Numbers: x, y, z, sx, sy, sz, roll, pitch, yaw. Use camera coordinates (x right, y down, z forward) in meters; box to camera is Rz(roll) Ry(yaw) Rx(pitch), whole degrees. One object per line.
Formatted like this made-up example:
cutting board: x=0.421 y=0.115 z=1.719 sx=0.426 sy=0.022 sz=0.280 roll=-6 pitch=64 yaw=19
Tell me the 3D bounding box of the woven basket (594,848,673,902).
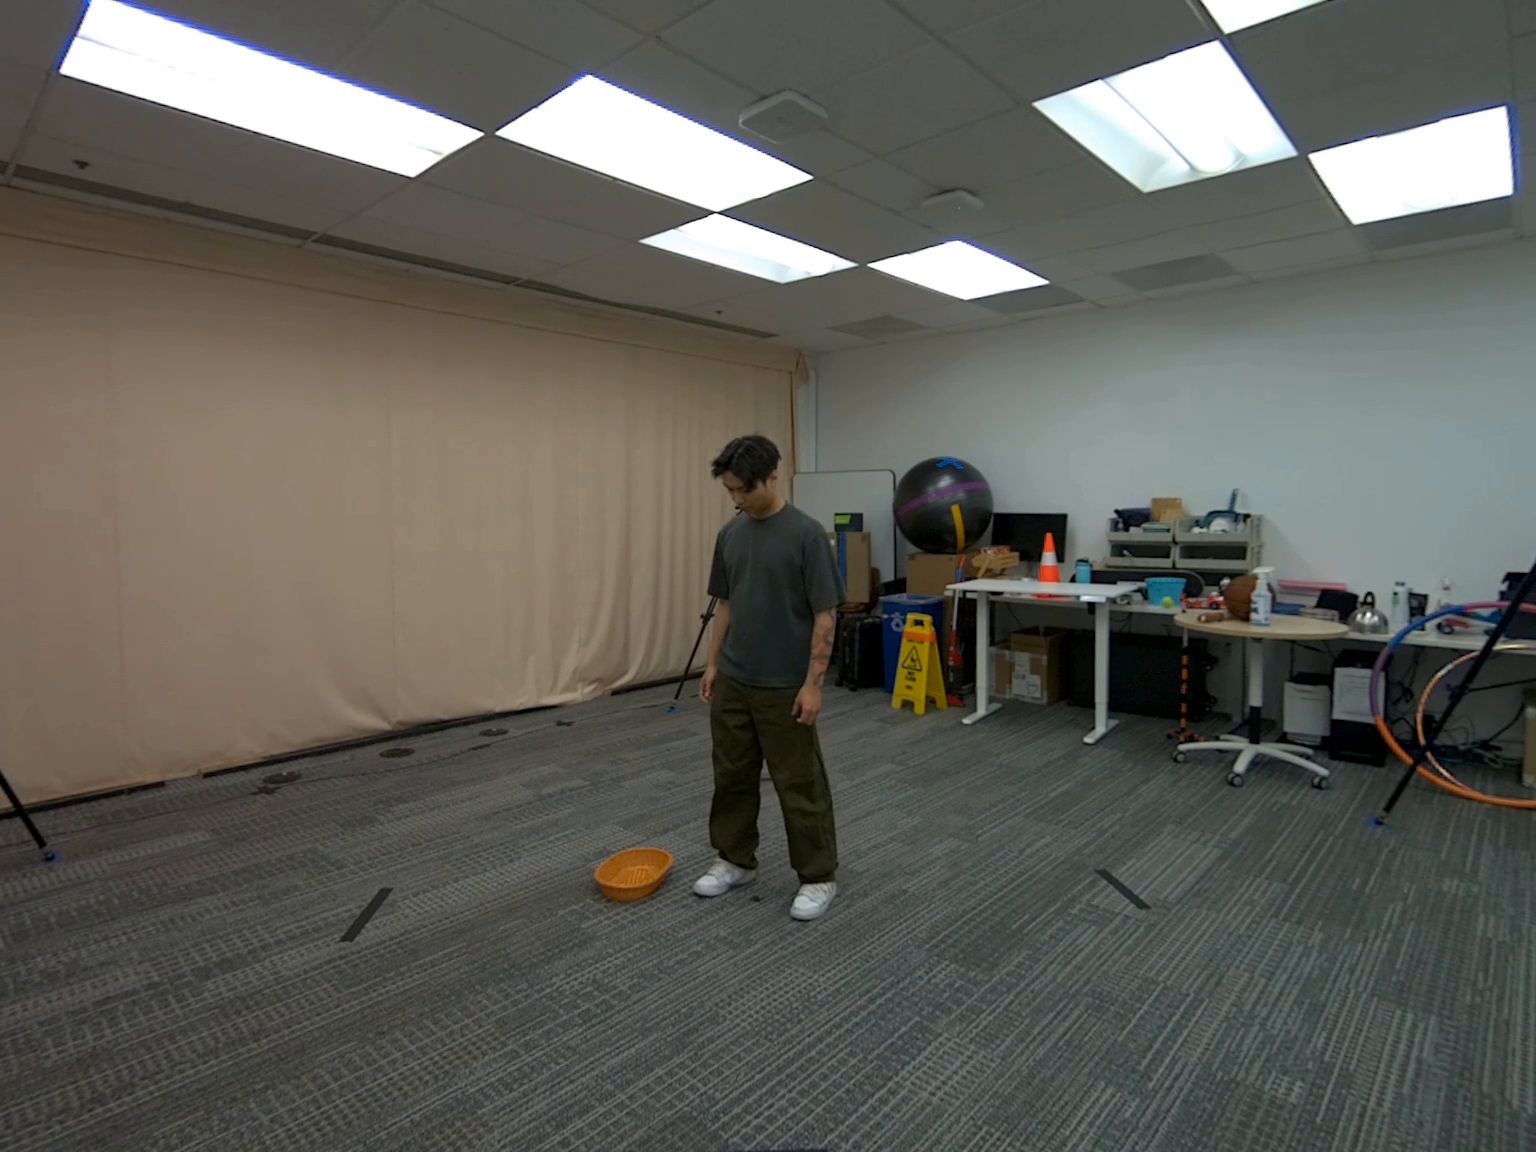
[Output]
woven basket: x=-0.491 y=1.101 z=3.103 sx=0.258 sy=0.073 sz=0.343 roll=1 pitch=5 yaw=23
